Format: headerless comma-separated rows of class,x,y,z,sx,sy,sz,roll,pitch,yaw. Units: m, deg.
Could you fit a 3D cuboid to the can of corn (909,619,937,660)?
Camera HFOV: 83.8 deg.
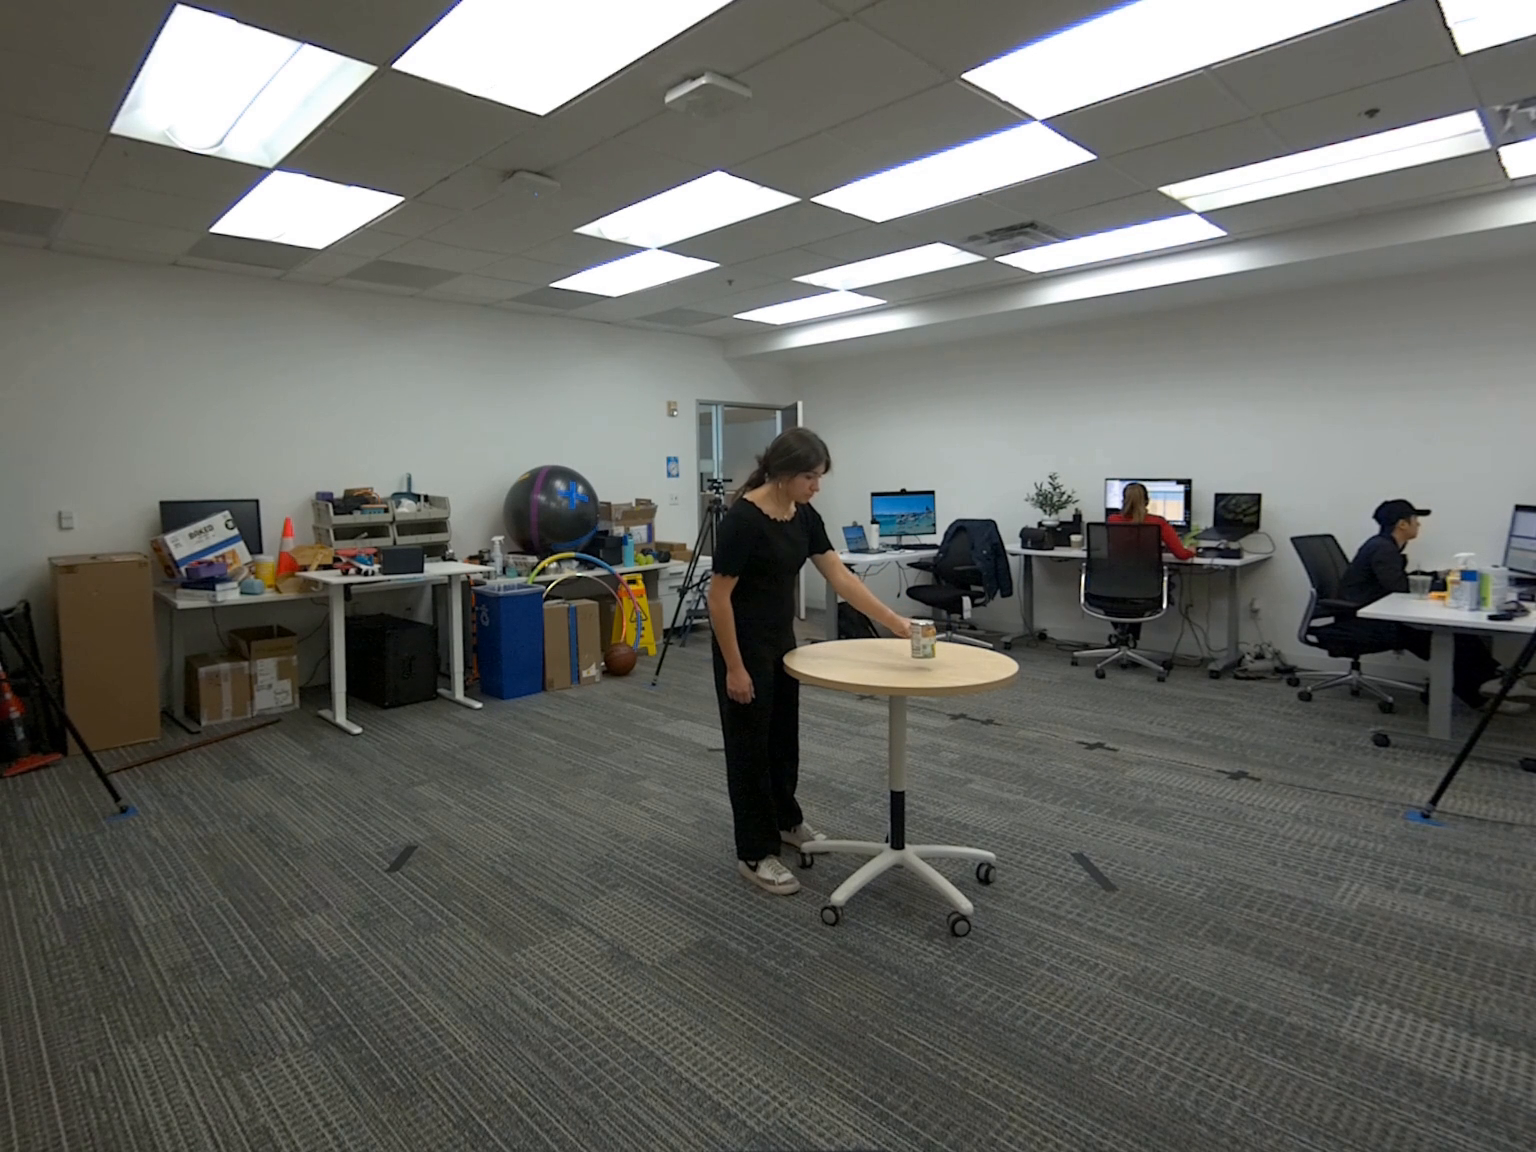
can of corn,0.489,0.200,2.719,0.074,0.111,0.074,-3,3,-2
